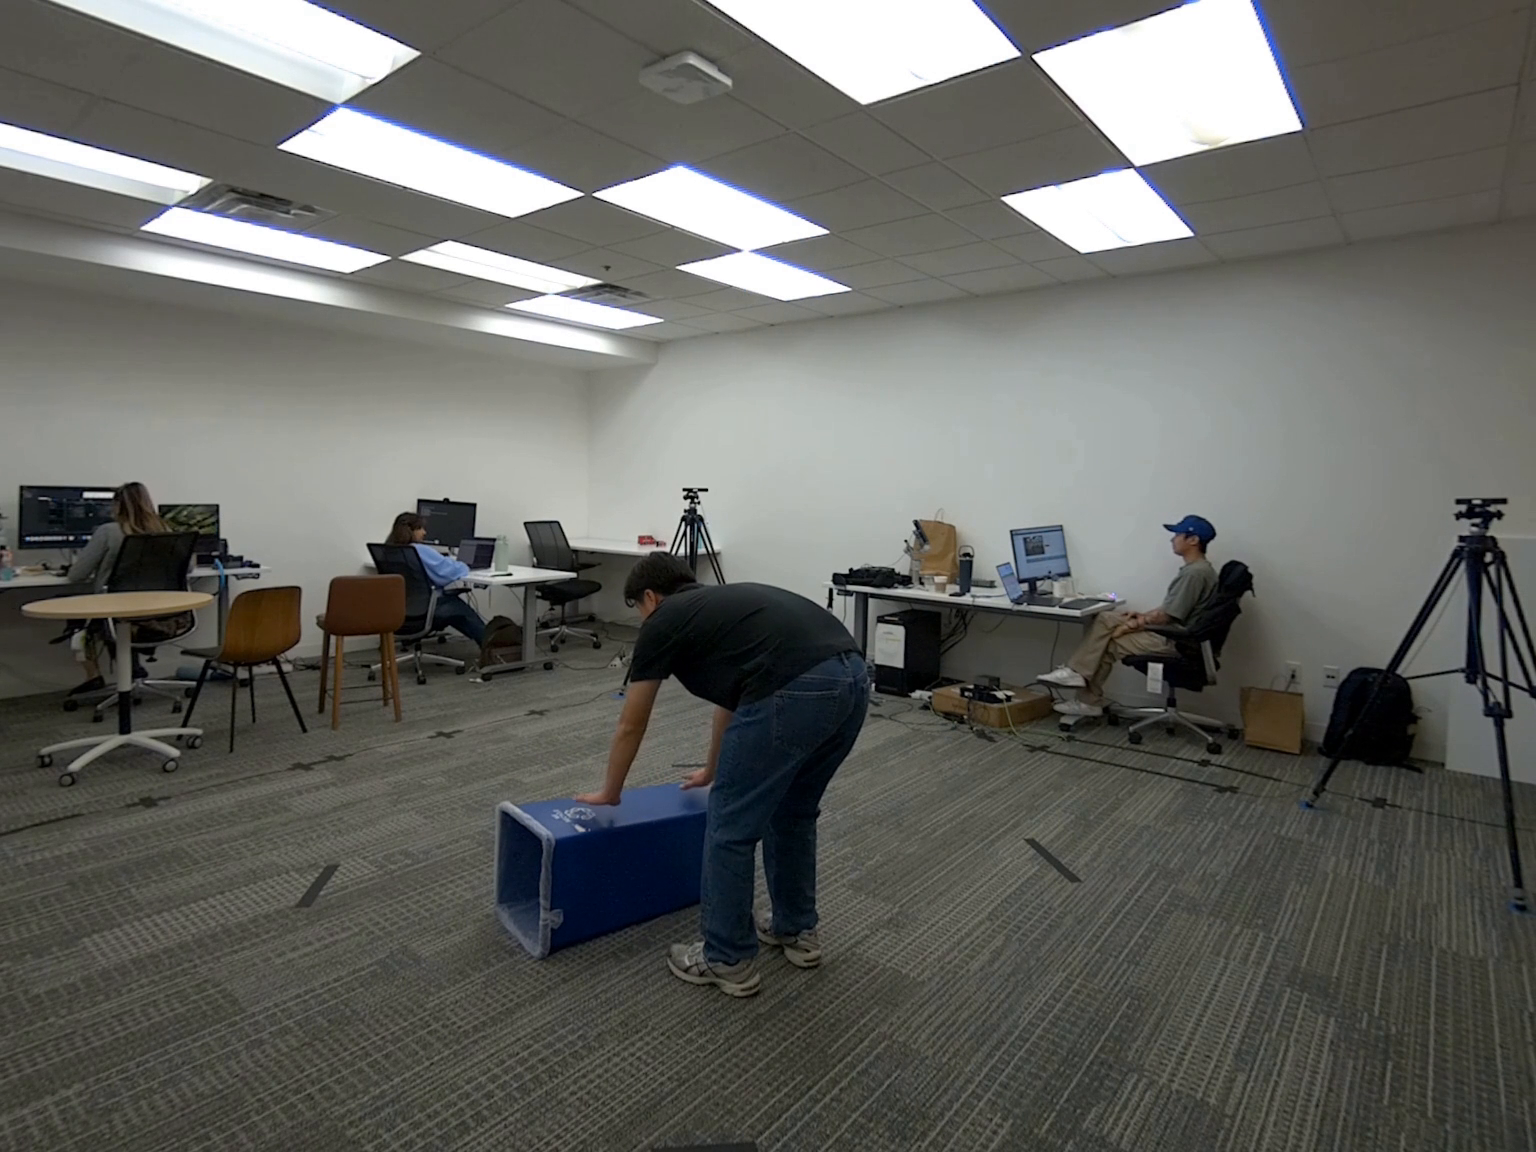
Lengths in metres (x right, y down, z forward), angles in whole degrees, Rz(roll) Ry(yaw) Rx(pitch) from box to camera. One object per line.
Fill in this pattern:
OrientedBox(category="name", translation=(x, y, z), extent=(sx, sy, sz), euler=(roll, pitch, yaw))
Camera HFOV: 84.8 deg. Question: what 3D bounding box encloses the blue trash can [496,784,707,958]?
OrientedBox(category="blue trash can", translation=(-0.511, 0.925, 2.830), extent=(0.691, 0.377, 0.386), euler=(1, 3, -38))
